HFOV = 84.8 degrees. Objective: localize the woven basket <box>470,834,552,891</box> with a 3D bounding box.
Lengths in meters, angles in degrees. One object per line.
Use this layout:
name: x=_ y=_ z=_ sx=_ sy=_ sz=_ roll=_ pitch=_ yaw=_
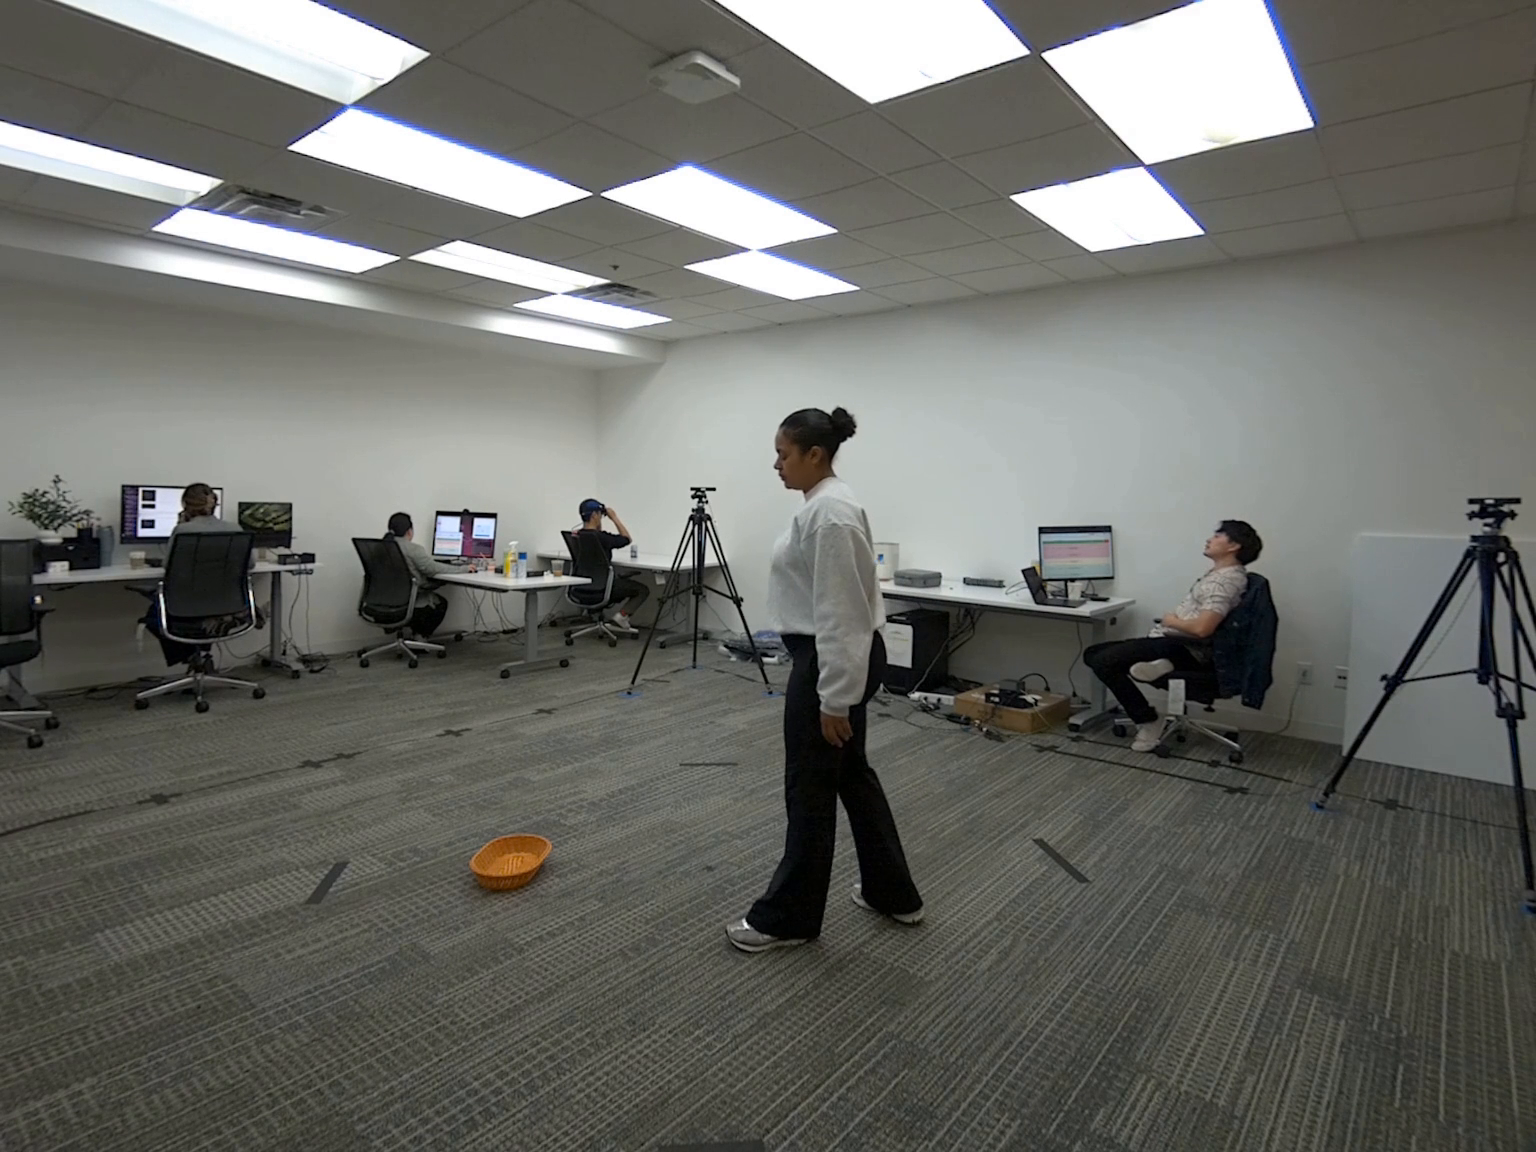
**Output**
woven basket: x=-0.931 y=1.024 z=3.043 sx=0.255 sy=0.073 sz=0.348 roll=2 pitch=5 yaw=8
